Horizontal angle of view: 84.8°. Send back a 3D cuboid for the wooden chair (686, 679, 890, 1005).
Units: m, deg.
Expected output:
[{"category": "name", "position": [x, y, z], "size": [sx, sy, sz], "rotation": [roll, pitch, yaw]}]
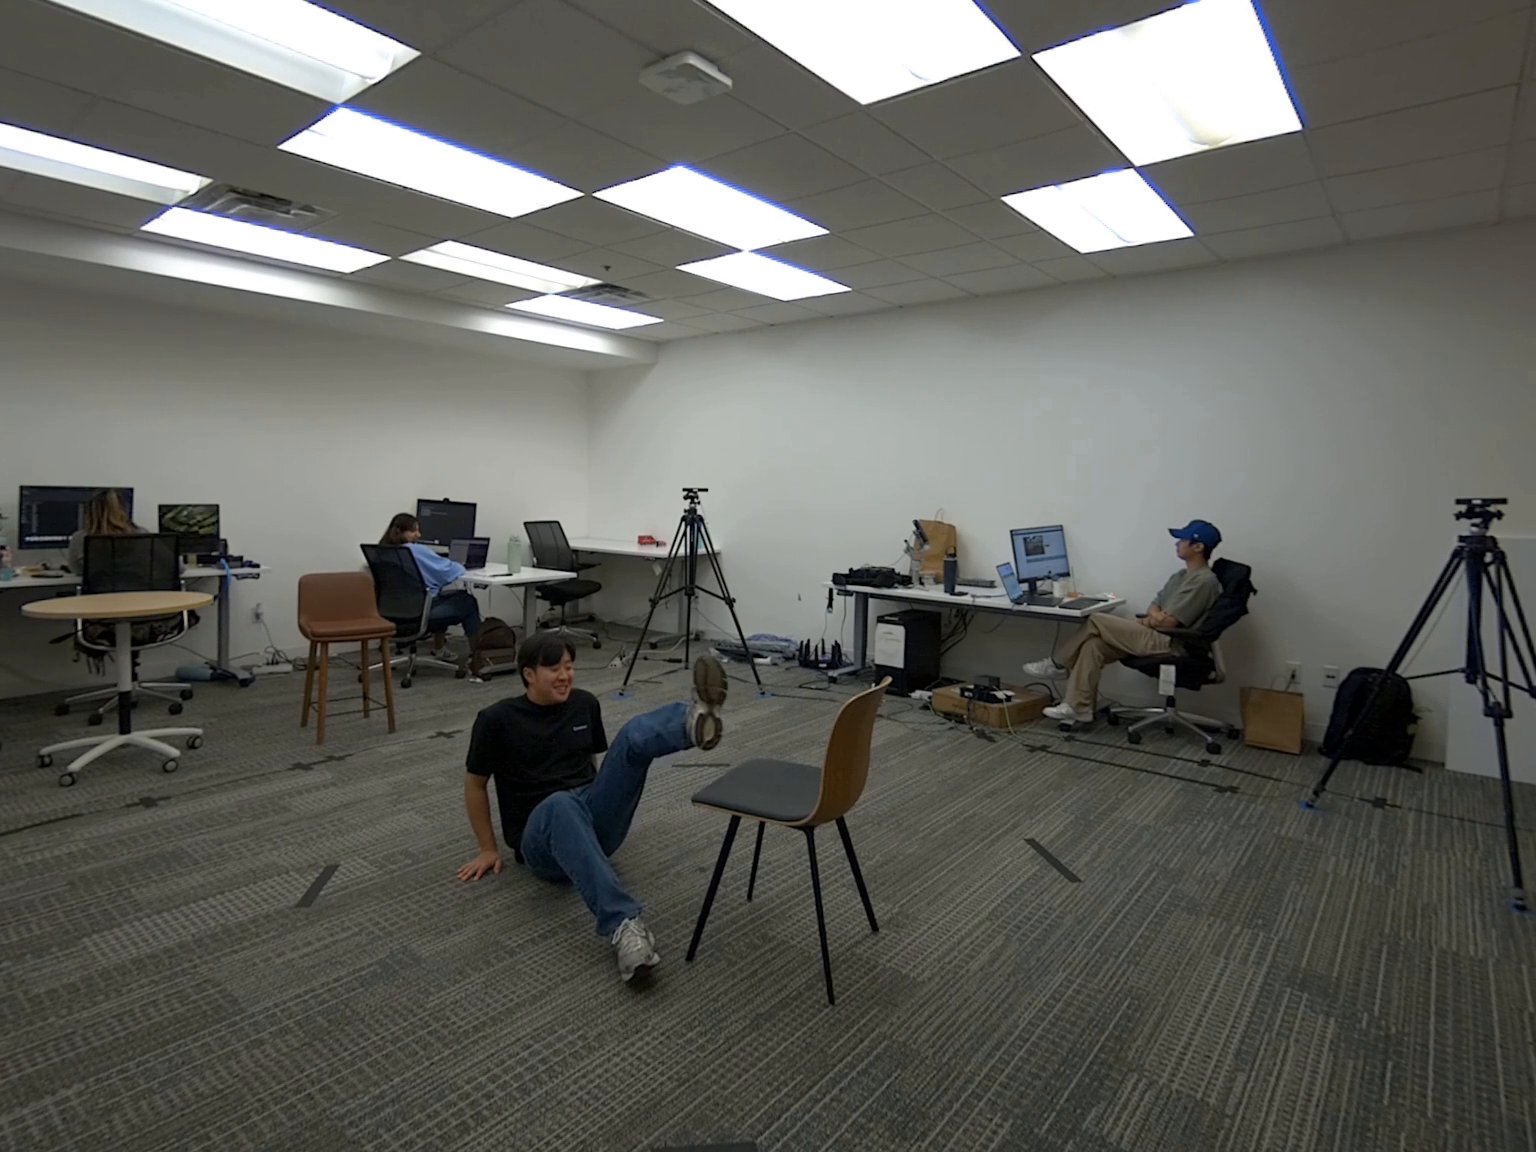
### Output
[{"category": "wooden chair", "position": [0.053, 0.699, 2.577], "size": [0.538, 0.874, 0.467], "rotation": [8, 6, 25]}]
